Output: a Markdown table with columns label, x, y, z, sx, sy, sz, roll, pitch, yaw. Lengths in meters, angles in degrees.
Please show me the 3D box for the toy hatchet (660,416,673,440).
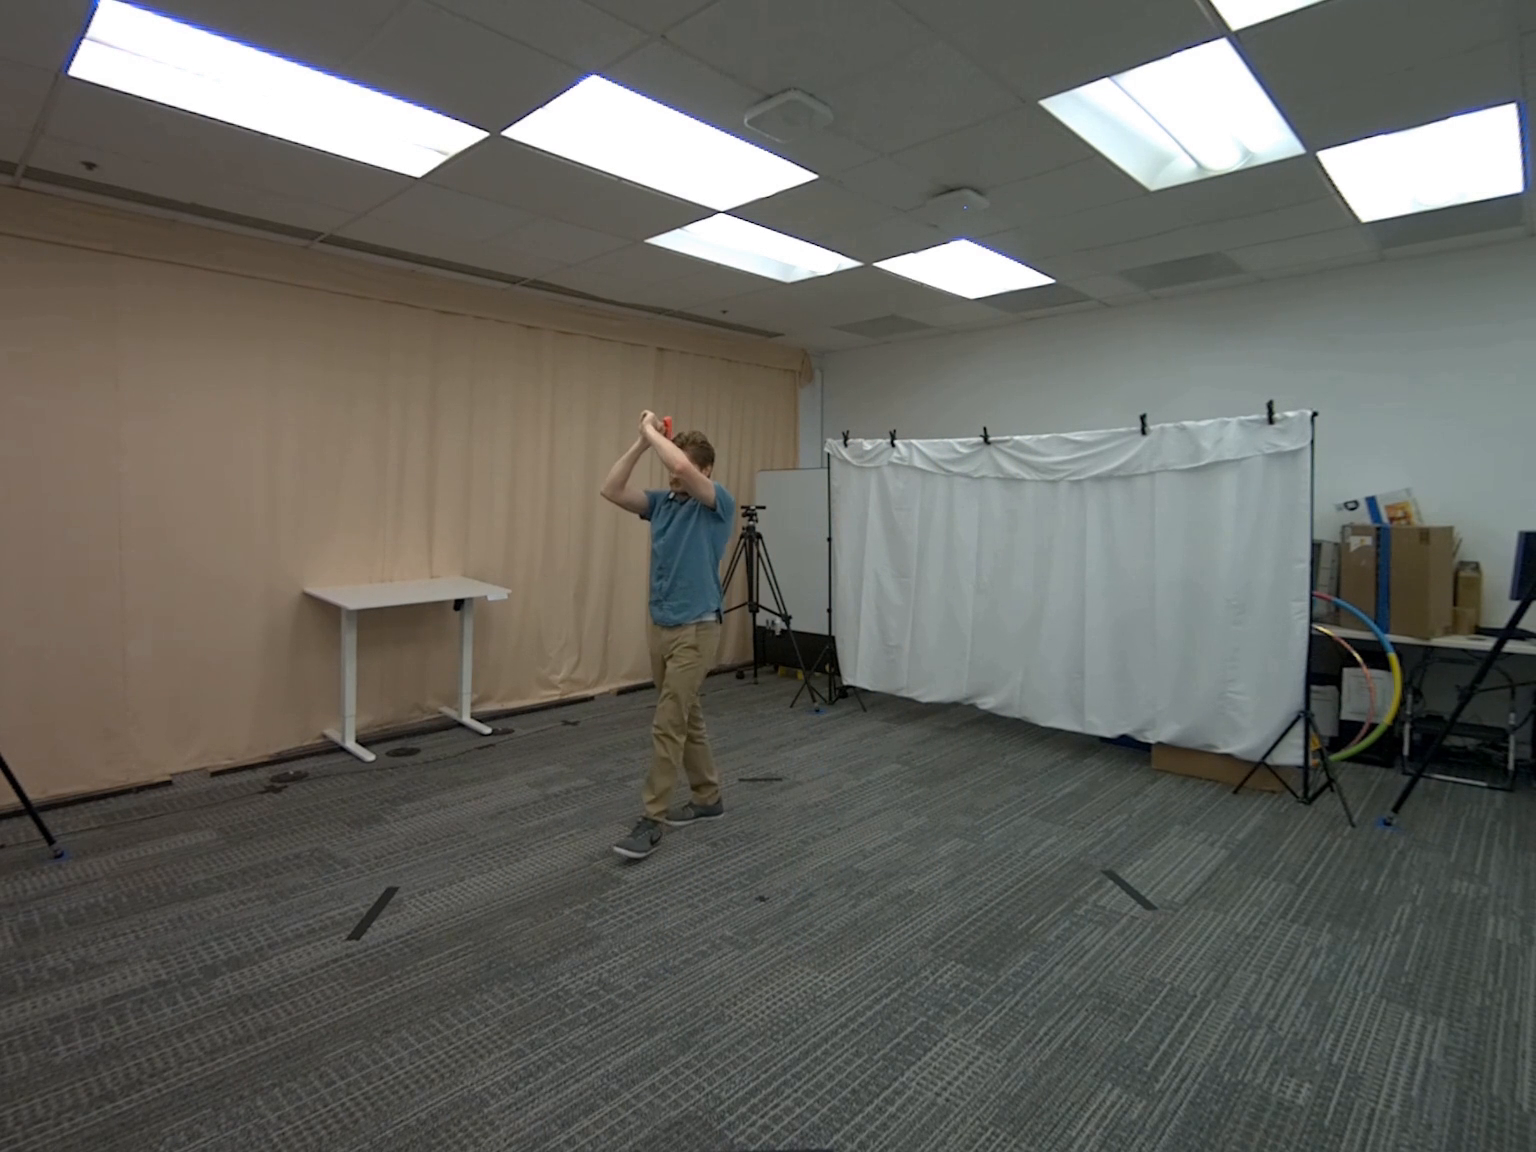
| label | x | y | z | sx | sy | sz | roll | pitch | yaw |
| --- | --- | --- | --- | --- | --- | --- | --- | --- | --- |
| toy hatchet | -0.438 | -0.651 | 3.554 | 0.030 | 0.131 | 0.265 | 12 | -14 | 10 |
